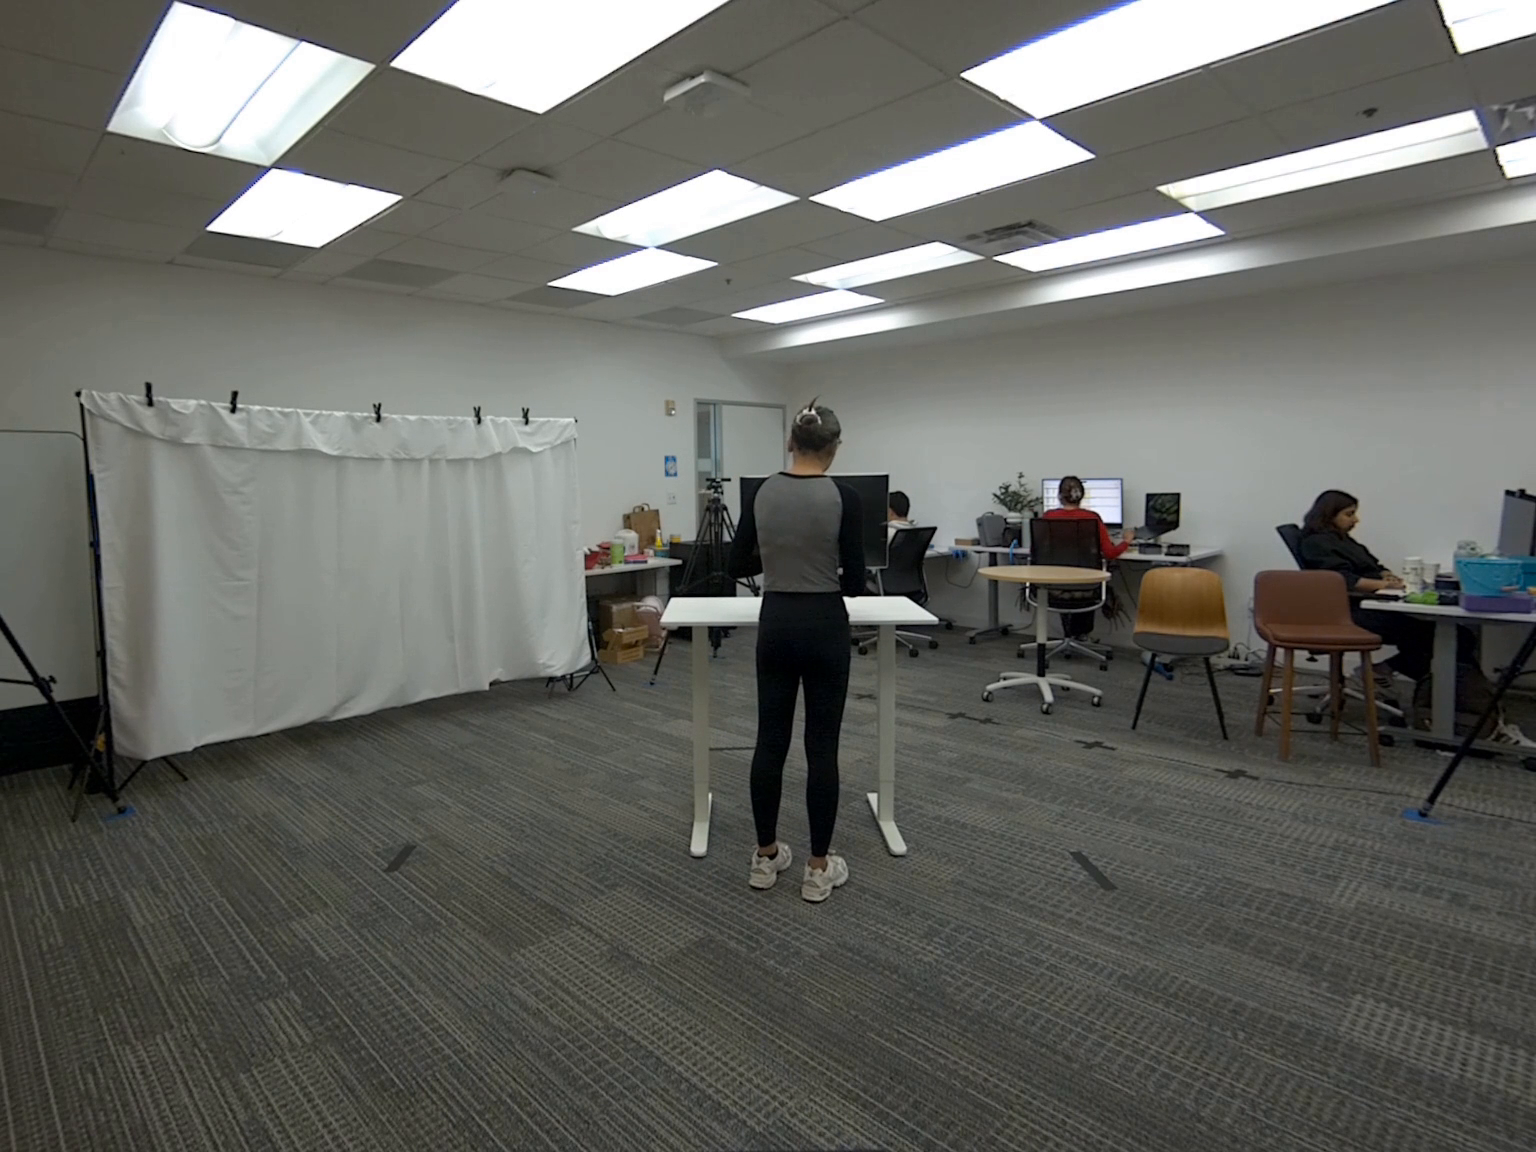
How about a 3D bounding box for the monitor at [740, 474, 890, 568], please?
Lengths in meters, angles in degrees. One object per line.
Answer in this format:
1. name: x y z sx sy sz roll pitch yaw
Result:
1. monitor: 0.170 -0.110 3.194 0.540 0.522 0.187 0 2 1
